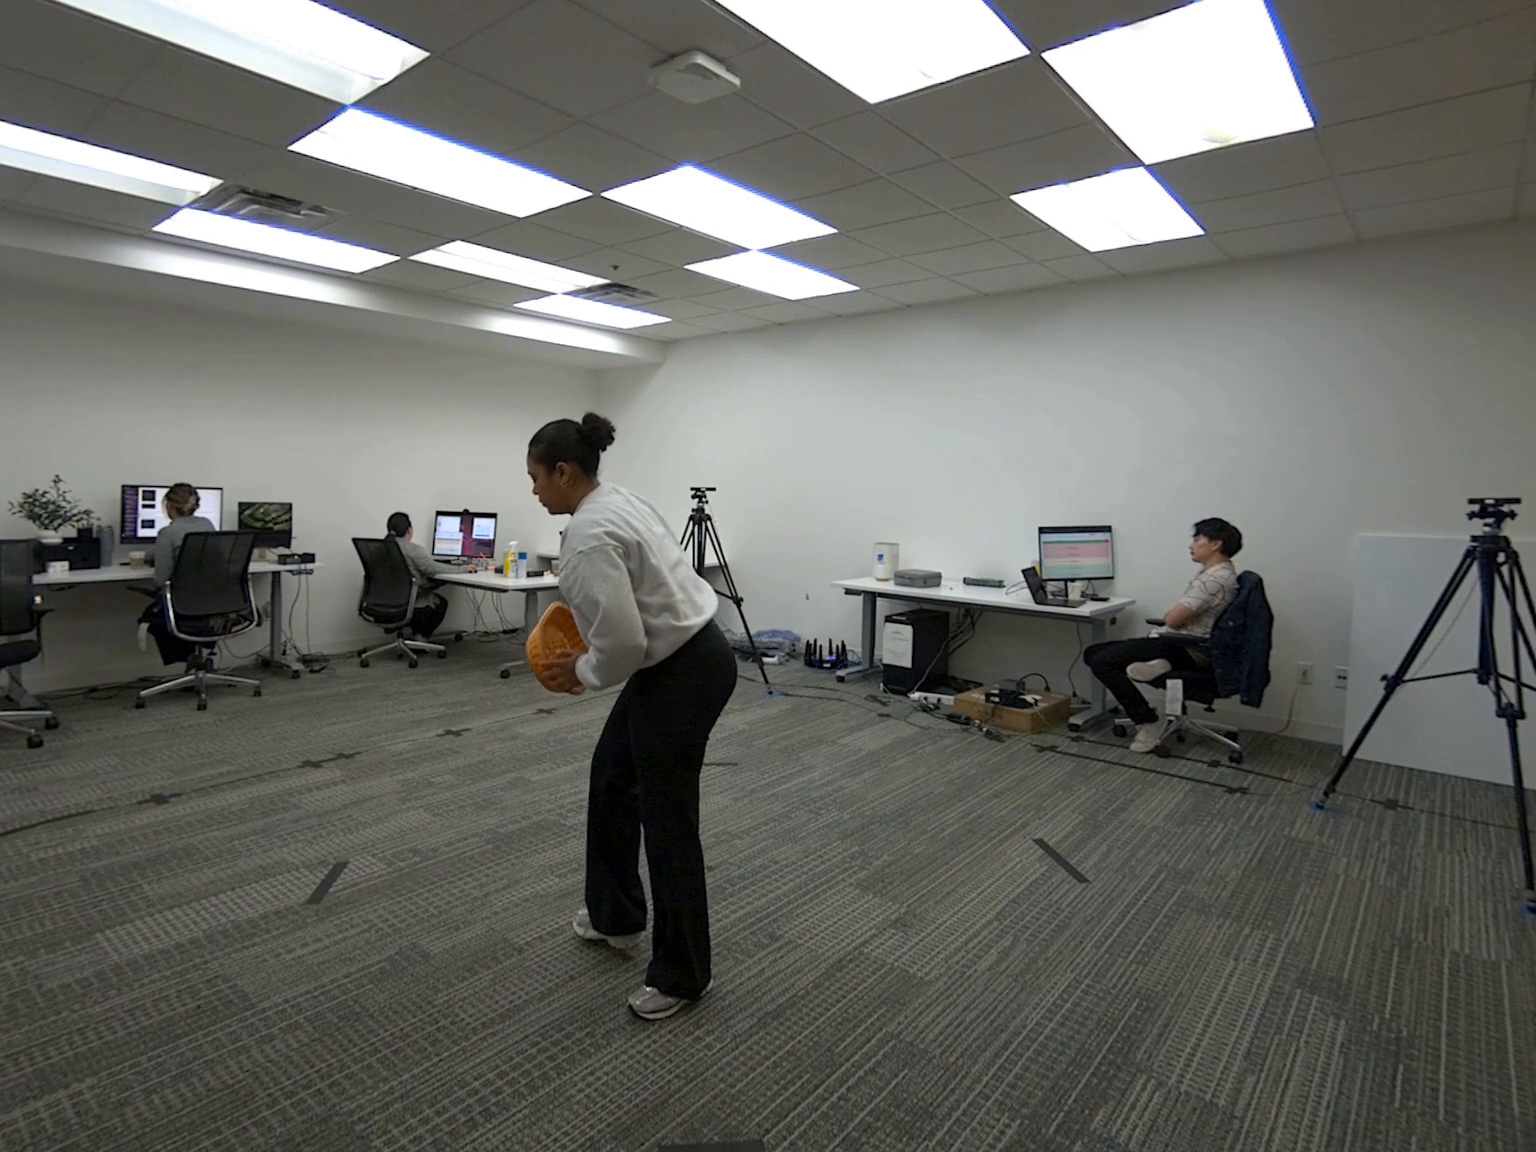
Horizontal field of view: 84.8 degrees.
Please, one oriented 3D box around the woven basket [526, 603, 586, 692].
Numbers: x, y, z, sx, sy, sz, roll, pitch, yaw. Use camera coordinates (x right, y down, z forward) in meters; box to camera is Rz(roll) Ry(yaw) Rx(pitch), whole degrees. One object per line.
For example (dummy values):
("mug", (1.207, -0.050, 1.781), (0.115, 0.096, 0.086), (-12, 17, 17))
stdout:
("woven basket", (-0.621, 0.229, 2.477), (0.074, 0.248, 0.355), (-25, 15, 8))
